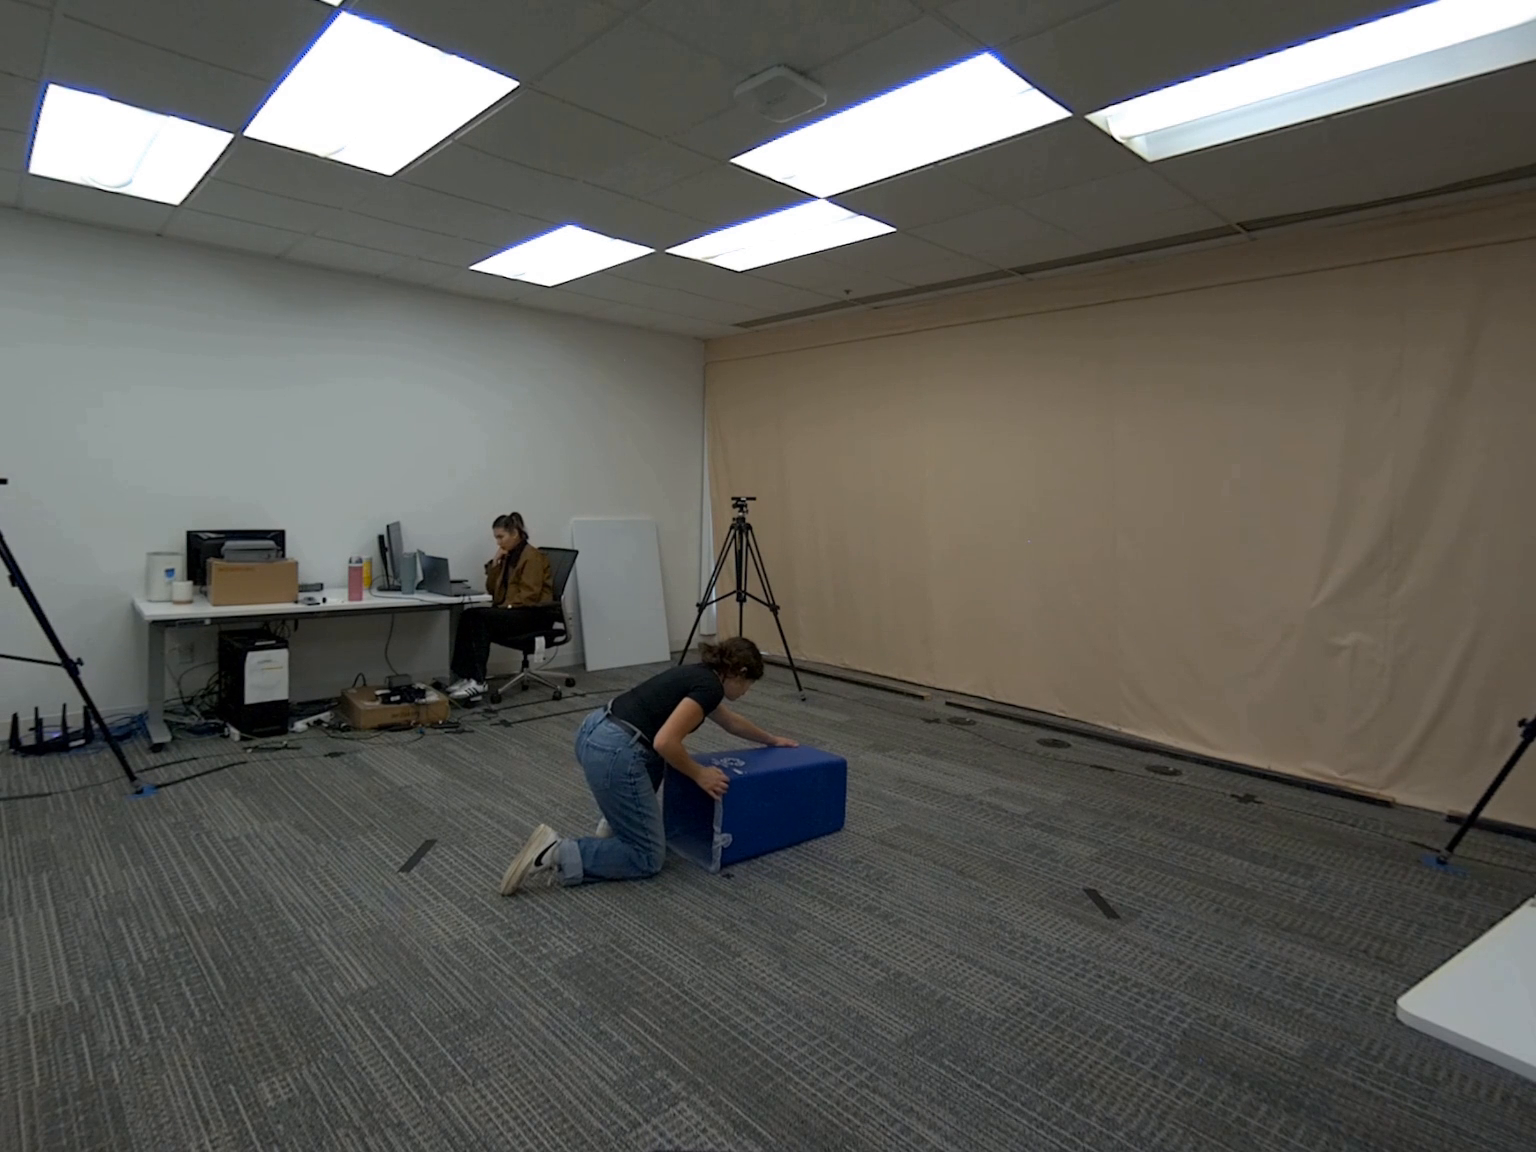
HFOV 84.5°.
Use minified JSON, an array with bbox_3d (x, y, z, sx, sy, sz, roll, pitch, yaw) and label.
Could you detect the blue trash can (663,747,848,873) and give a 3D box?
[{"bbox_3d":[-0.047,0.916,3.465,0.696,0.378,0.383,2,2,-40],"label":"blue trash can"}]
